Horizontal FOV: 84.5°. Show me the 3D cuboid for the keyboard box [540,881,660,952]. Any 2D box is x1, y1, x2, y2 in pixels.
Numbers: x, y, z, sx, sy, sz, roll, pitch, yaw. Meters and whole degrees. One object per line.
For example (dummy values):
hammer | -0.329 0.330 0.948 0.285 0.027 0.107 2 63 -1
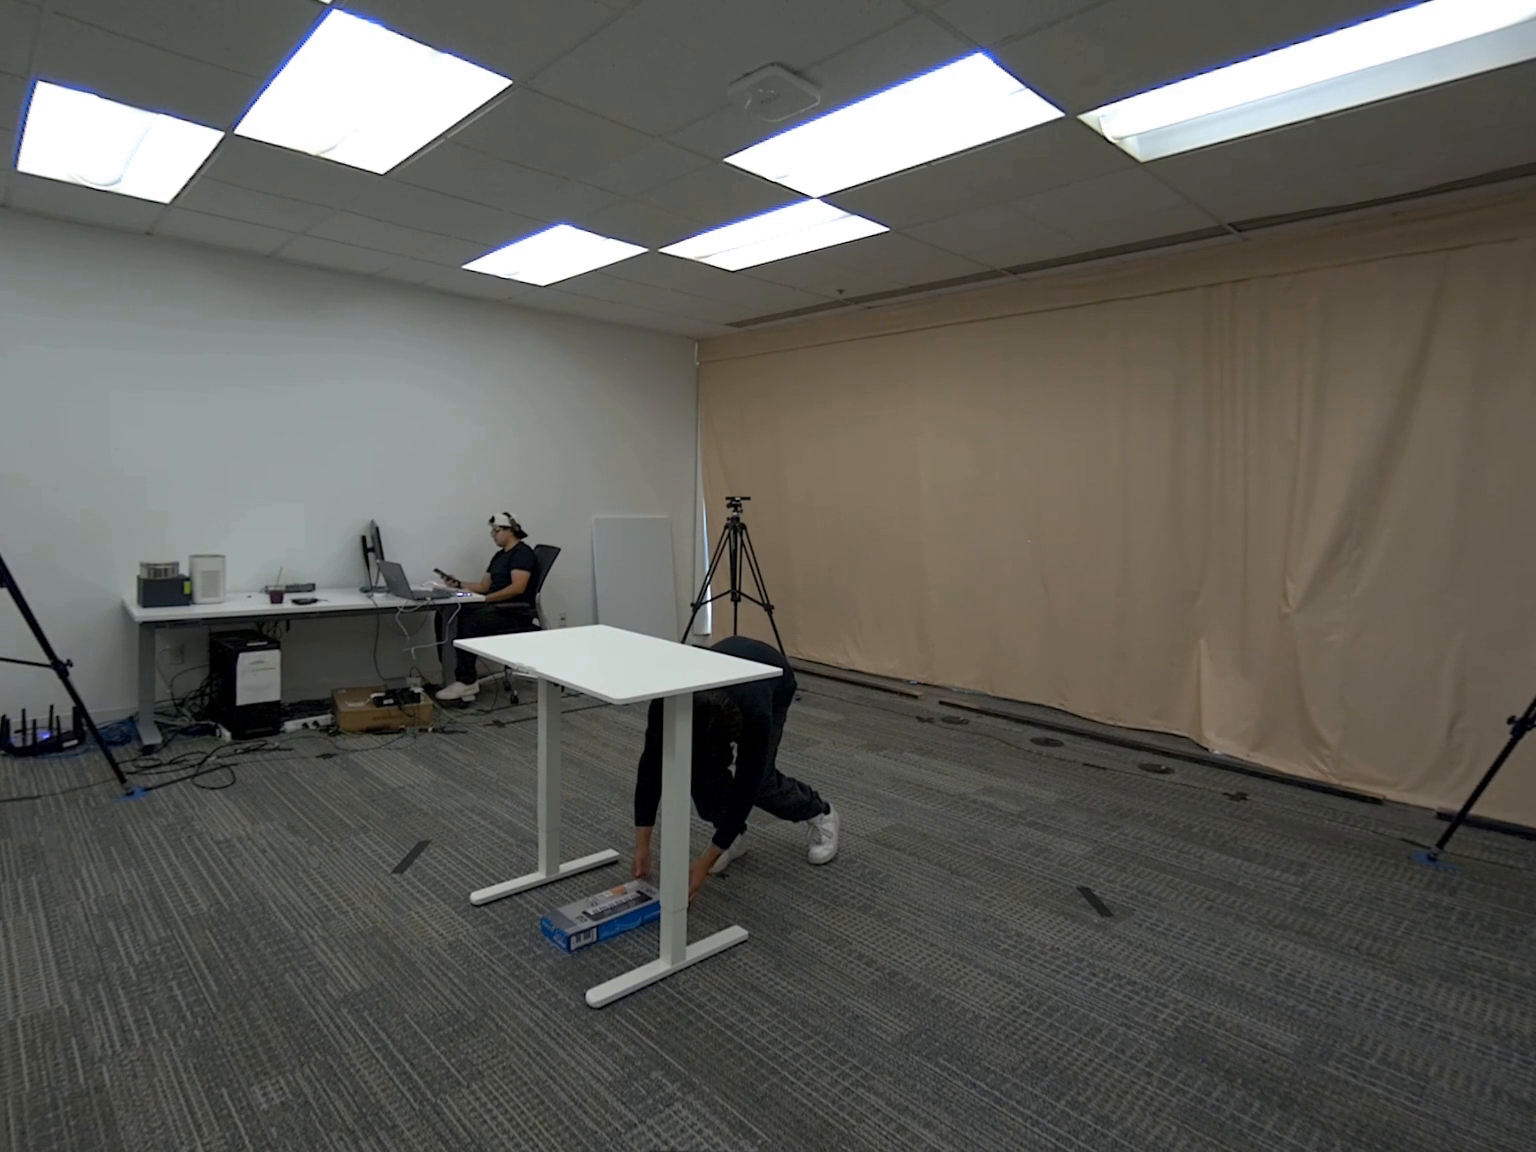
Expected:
keyboard box | -0.516 1.099 2.749 0.427 0.059 0.180 -5 8 -41
